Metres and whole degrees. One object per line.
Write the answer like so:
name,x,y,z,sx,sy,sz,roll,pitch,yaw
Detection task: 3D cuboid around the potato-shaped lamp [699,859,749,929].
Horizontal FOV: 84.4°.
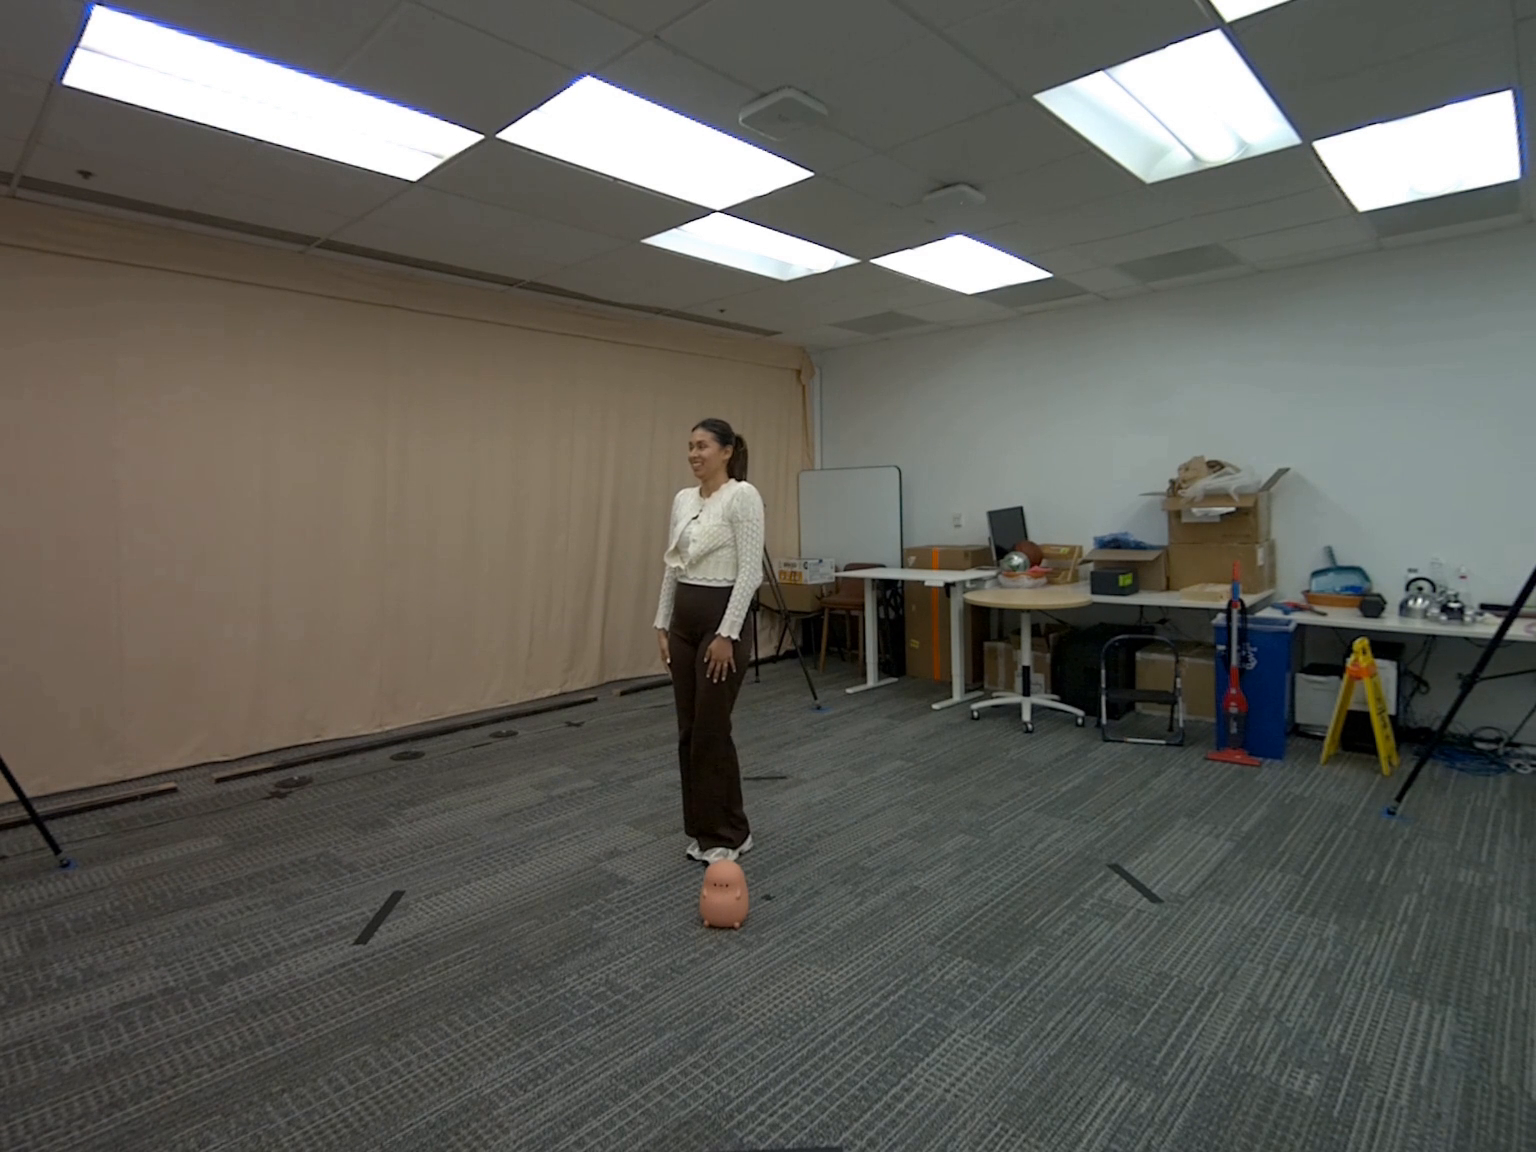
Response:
potato-shaped lamp,-0.148,1.052,2.819,0.167,0.198,0.169,0,2,14
